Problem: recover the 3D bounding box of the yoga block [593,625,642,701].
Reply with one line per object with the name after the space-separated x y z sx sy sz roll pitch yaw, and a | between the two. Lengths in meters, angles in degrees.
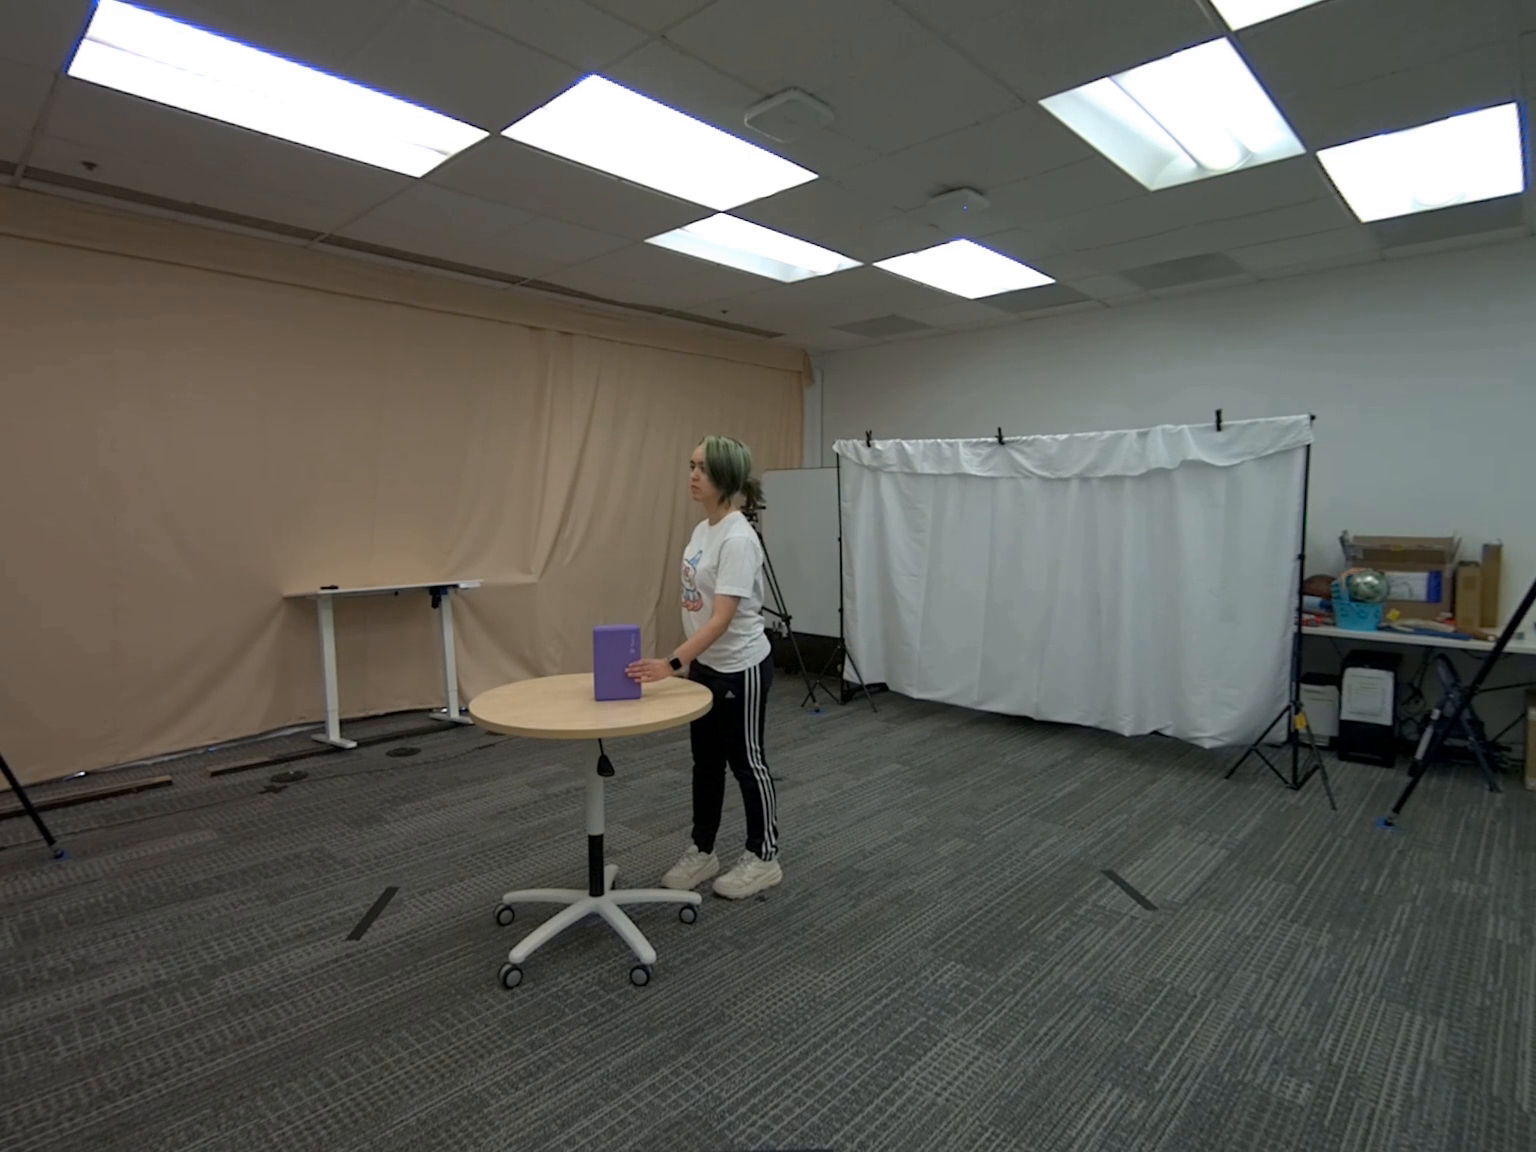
-0.486 0.277 2.664 0.149 0.229 0.077 -3 3 -2 | yoga block
